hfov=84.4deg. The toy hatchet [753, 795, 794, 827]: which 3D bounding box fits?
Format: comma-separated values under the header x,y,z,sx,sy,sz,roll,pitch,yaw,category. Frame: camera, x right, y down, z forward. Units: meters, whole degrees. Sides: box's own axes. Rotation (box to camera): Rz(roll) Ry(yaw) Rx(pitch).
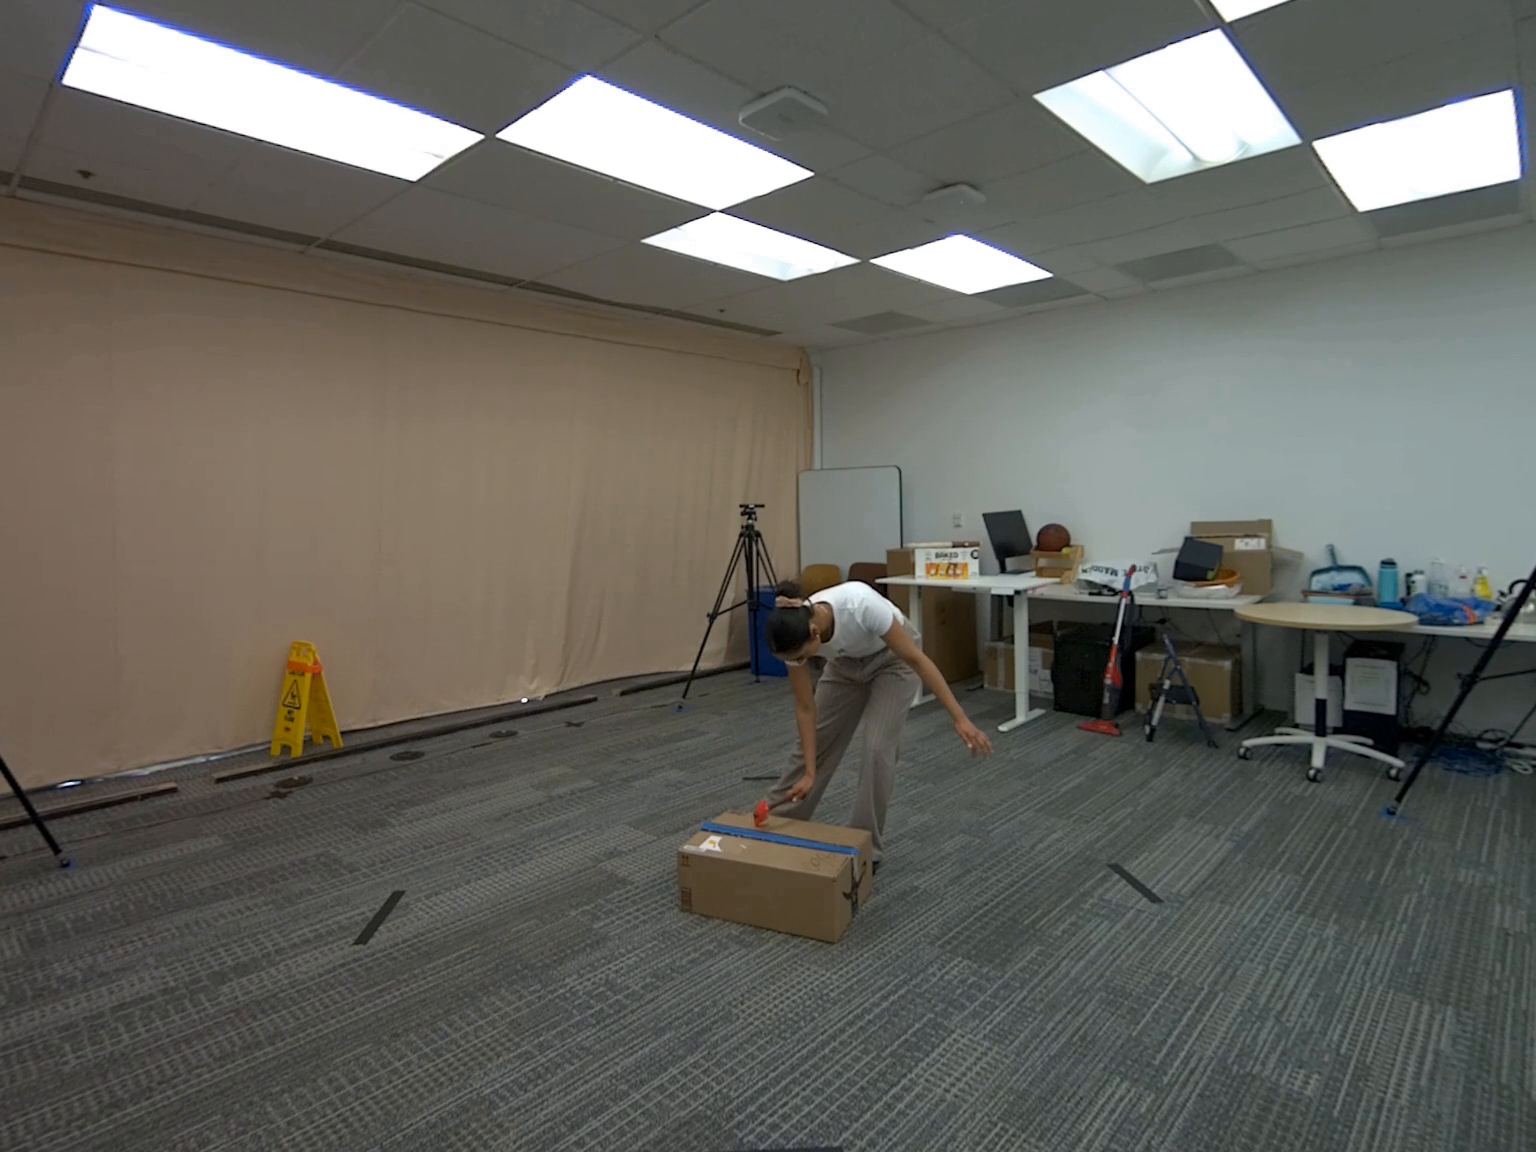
x,y,z,sx,sy,sz,roll,pitch,yaw,category
0.042,0.867,3.116,0.261,0.131,0.030,9,23,-49,toy hatchet
